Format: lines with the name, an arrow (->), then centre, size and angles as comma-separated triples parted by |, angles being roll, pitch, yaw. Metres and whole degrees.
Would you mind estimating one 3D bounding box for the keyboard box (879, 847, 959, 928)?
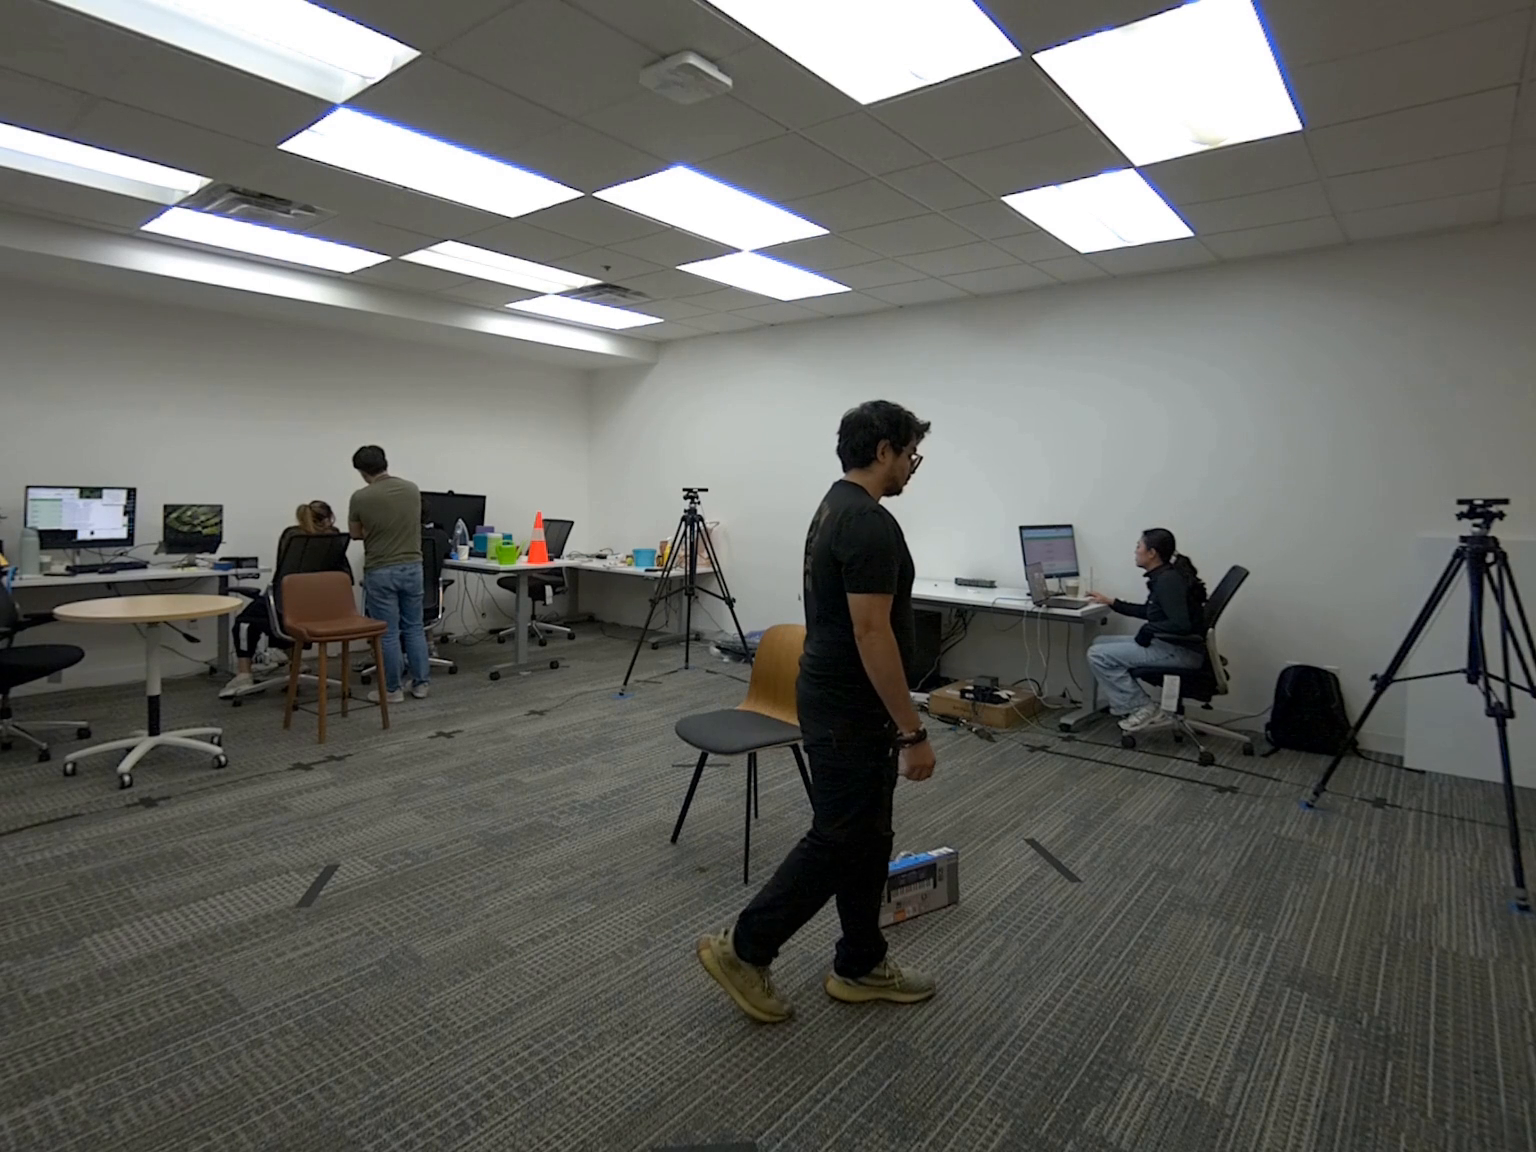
keyboard box -> 0.457, 1.032, 2.809 | 0.424, 0.176, 0.061 | -2, 1, -33
